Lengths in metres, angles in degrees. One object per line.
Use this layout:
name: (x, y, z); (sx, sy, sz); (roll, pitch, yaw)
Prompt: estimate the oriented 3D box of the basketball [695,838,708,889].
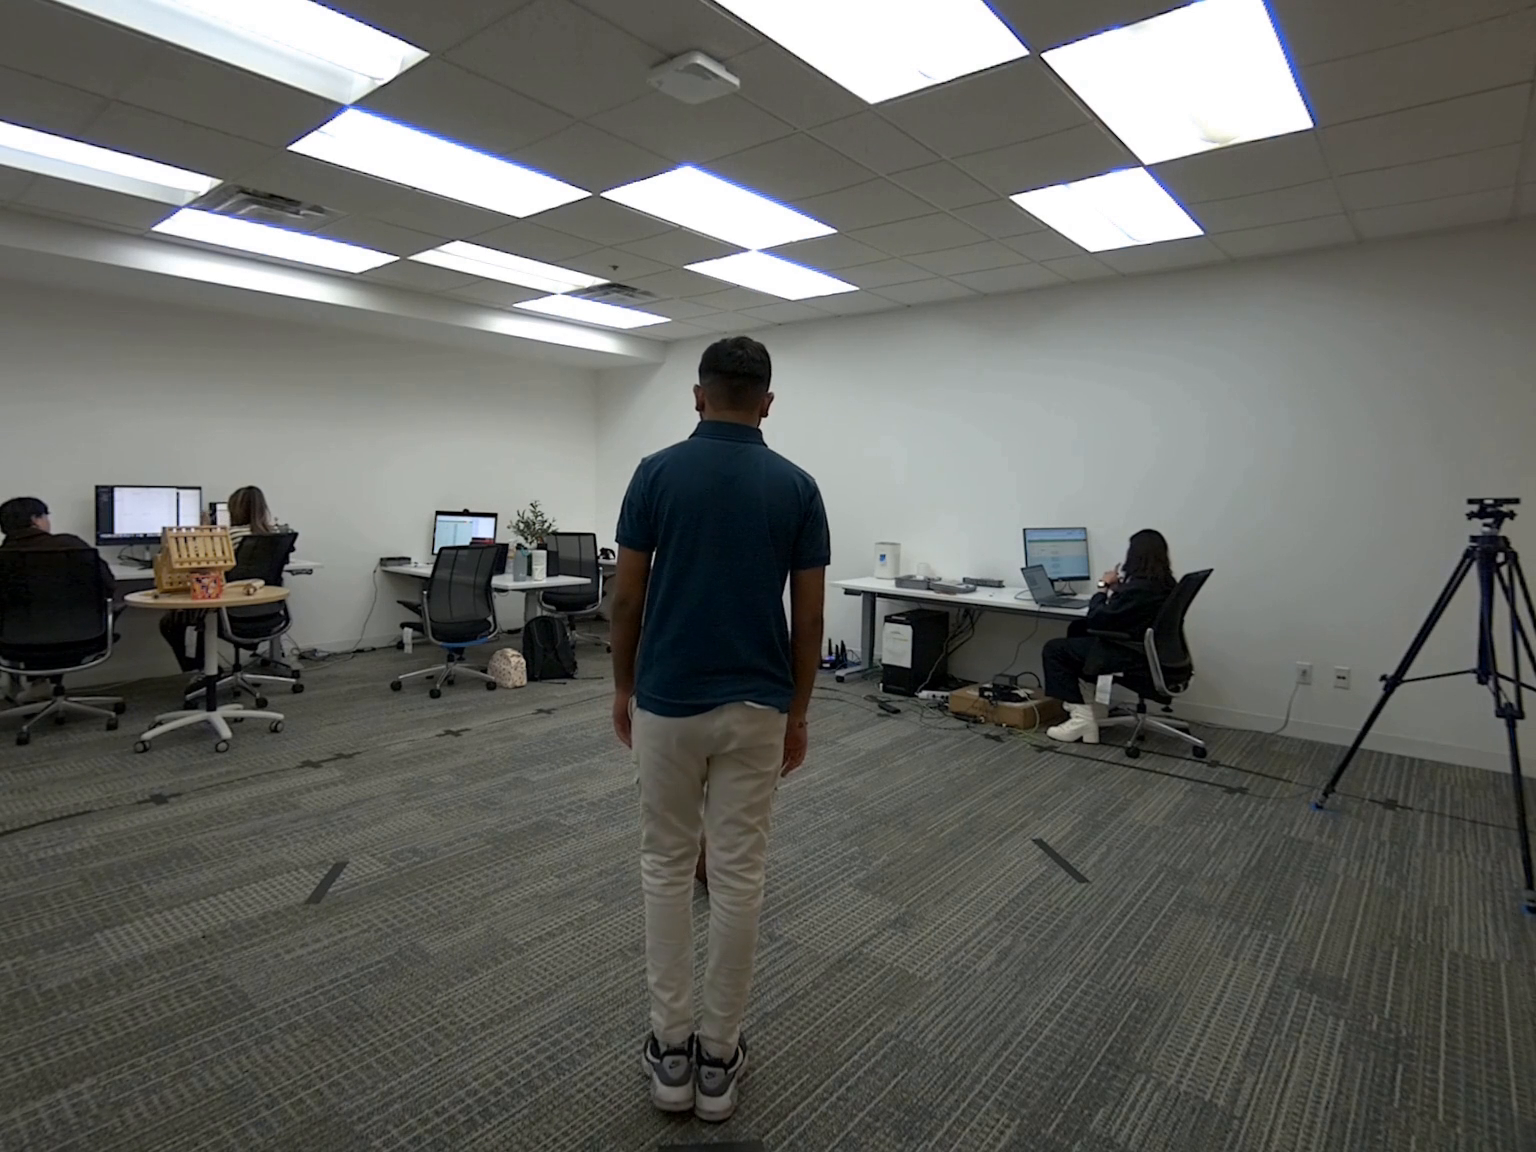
basketball: (-0.170, 0.954, 2.976); (0.235, 0.235, 0.237); (1, 4, -2)
